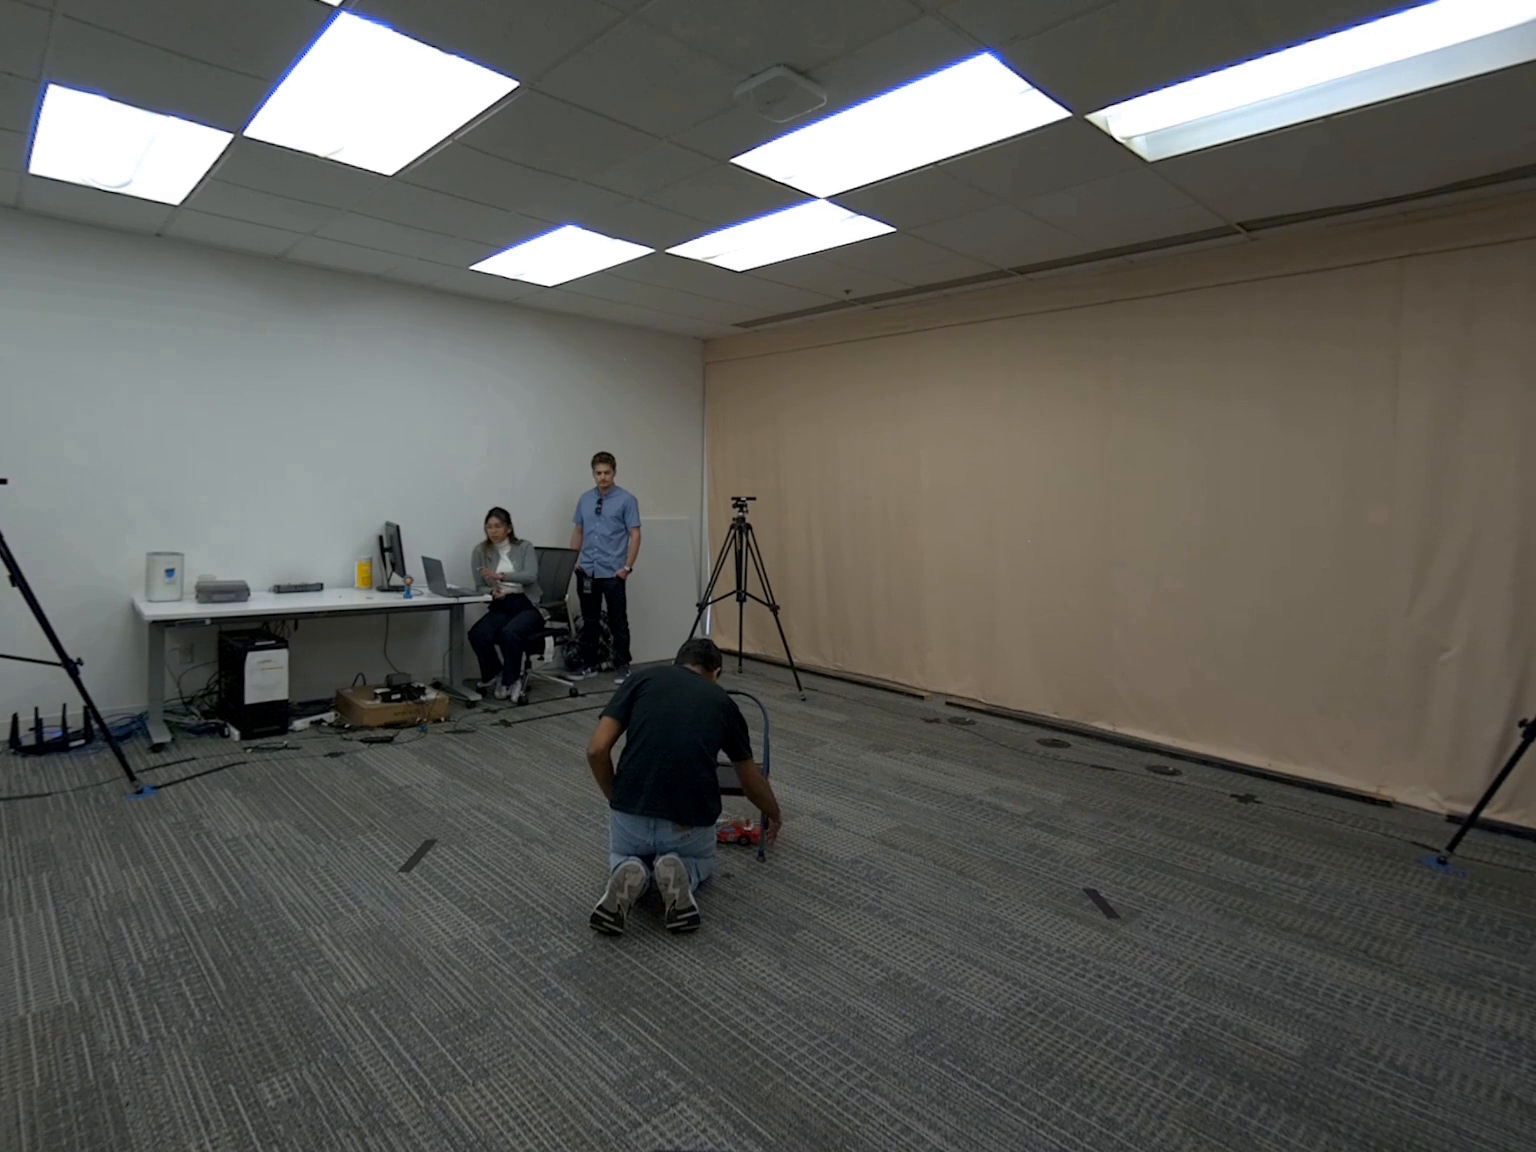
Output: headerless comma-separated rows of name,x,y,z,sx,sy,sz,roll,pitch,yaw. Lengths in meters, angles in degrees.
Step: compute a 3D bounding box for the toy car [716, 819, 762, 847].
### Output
toy car,-0.128,1.046,3.424,0.255,0.083,0.130,-6,4,4
